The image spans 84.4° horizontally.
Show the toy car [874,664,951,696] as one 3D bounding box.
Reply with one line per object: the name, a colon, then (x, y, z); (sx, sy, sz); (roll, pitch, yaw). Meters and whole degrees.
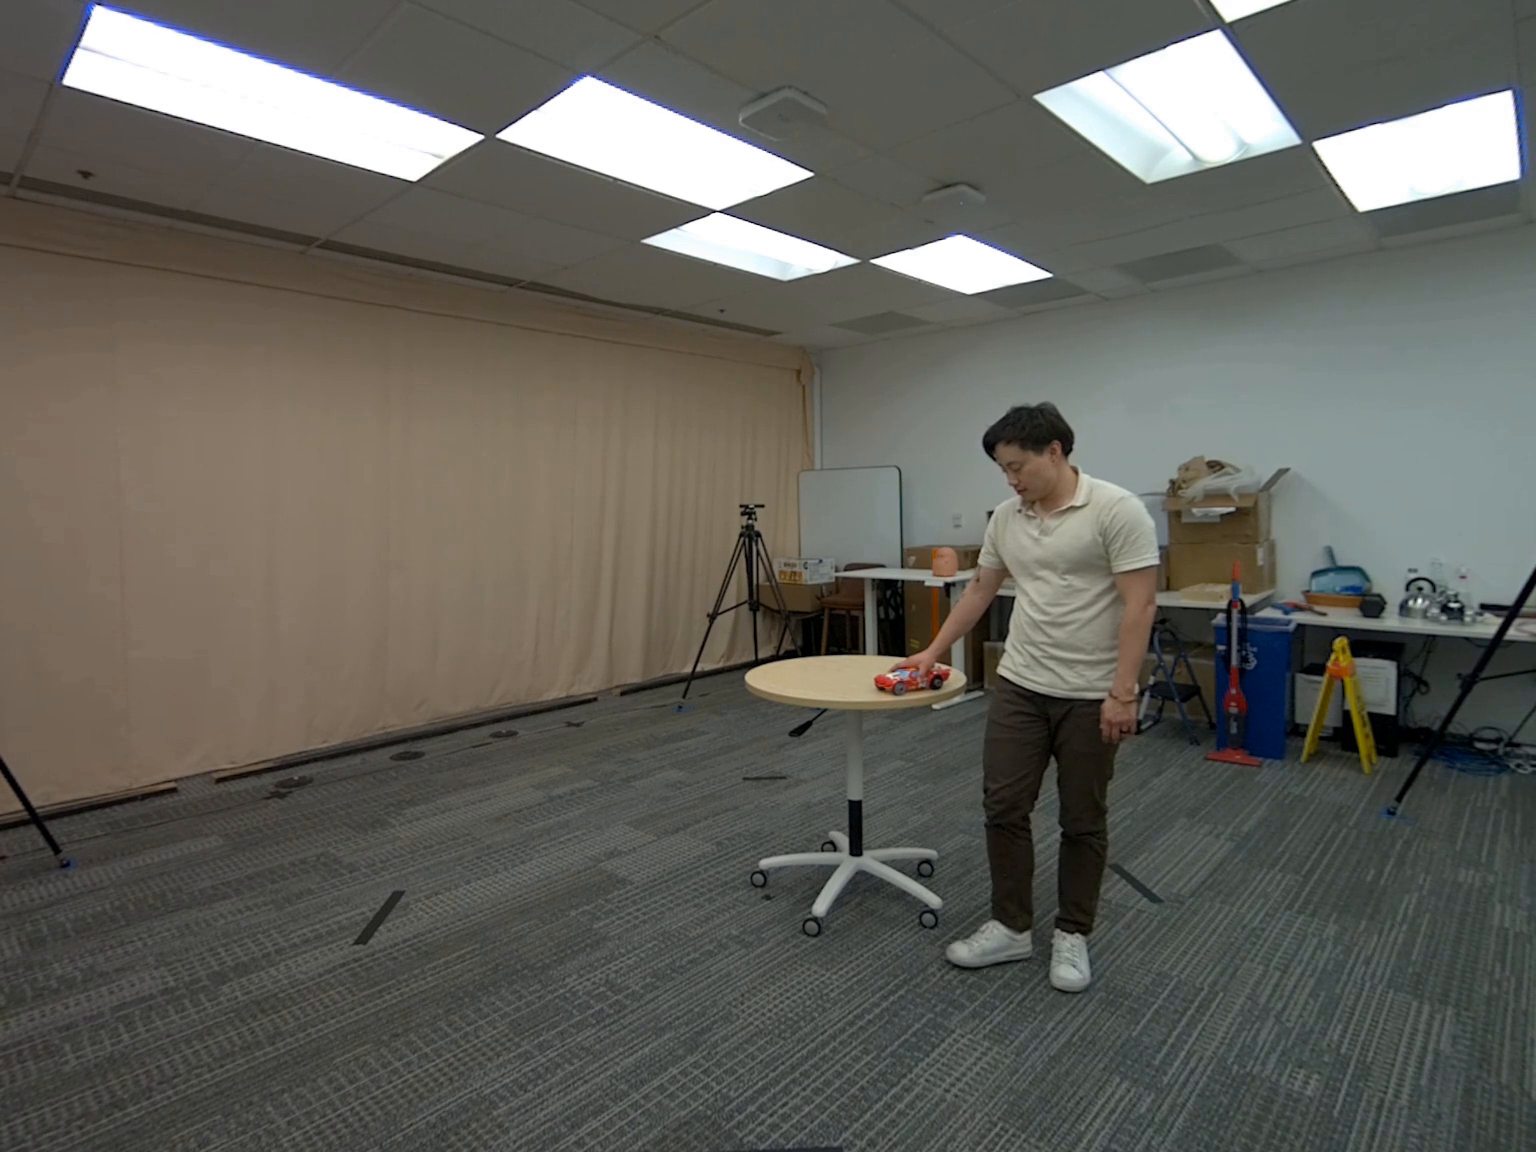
toy car: (0.484, 0.339, 2.730); (0.250, 0.082, 0.134); (-16, 11, -24)
